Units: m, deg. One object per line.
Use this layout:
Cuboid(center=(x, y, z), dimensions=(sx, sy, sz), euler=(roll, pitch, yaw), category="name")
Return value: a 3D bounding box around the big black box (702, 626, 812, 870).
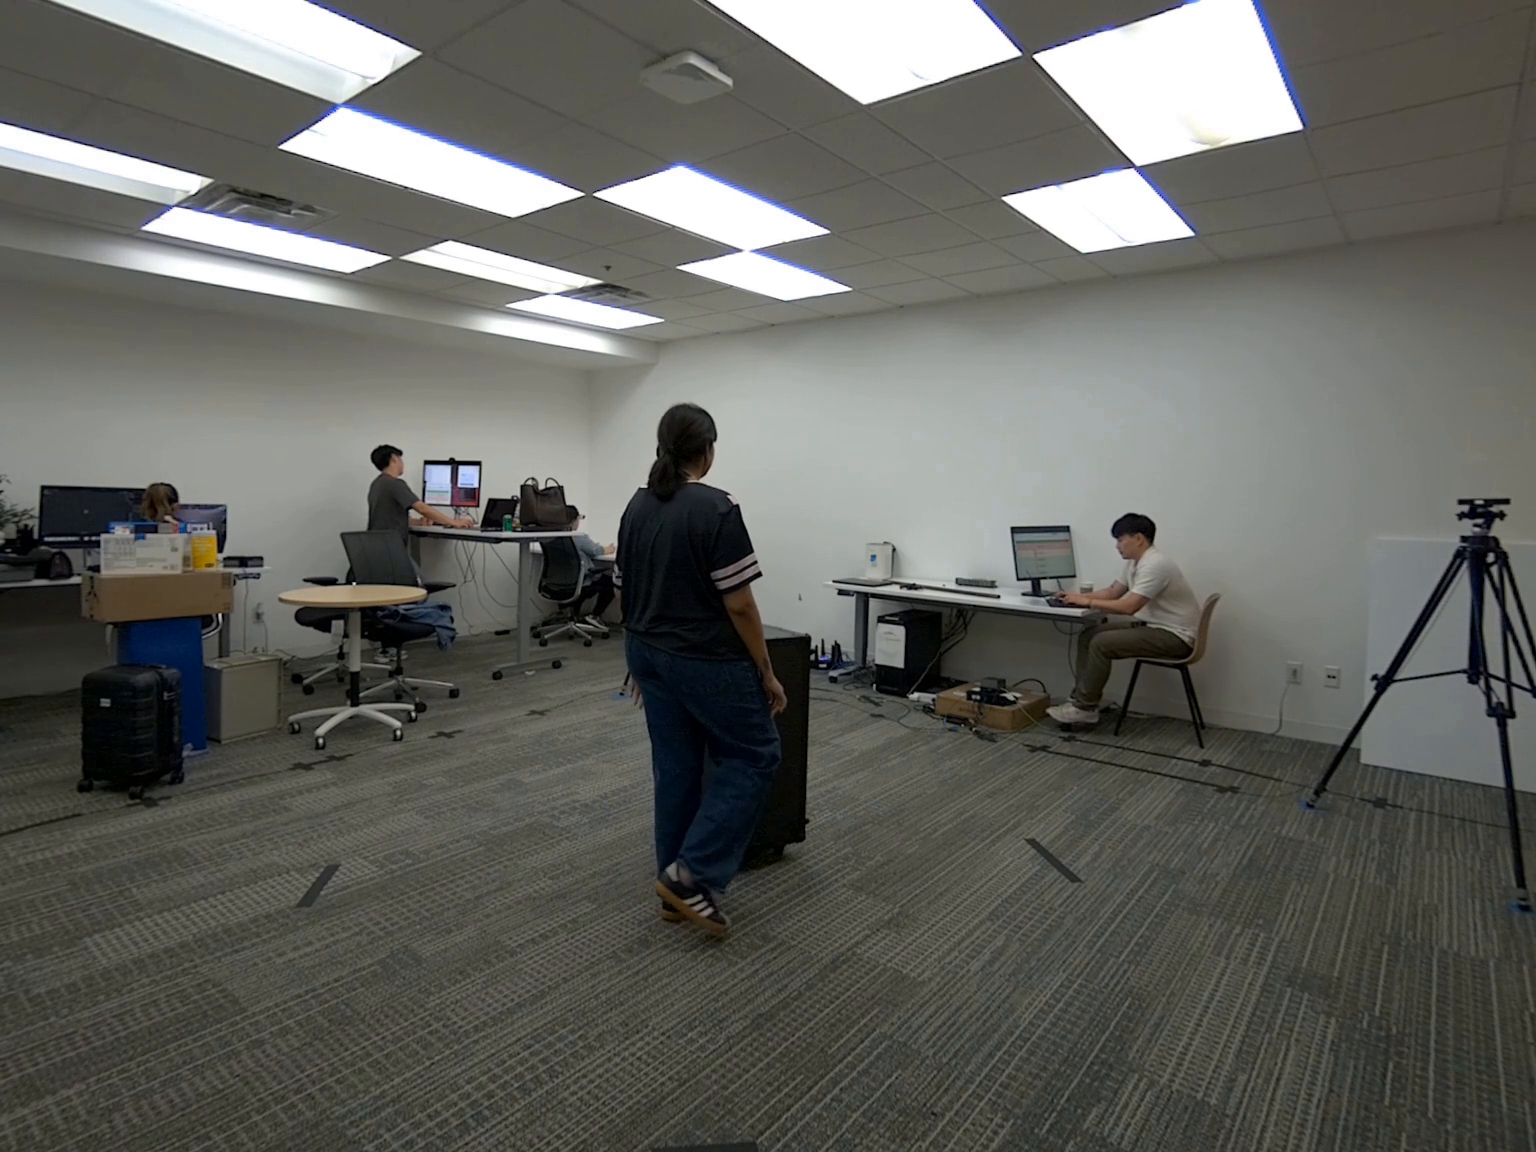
Cuboid(center=(-0.142, 0.627, 3.311), dimensions=(0.374, 0.866, 0.540), euler=(0, 4, -34), category="big black box")
